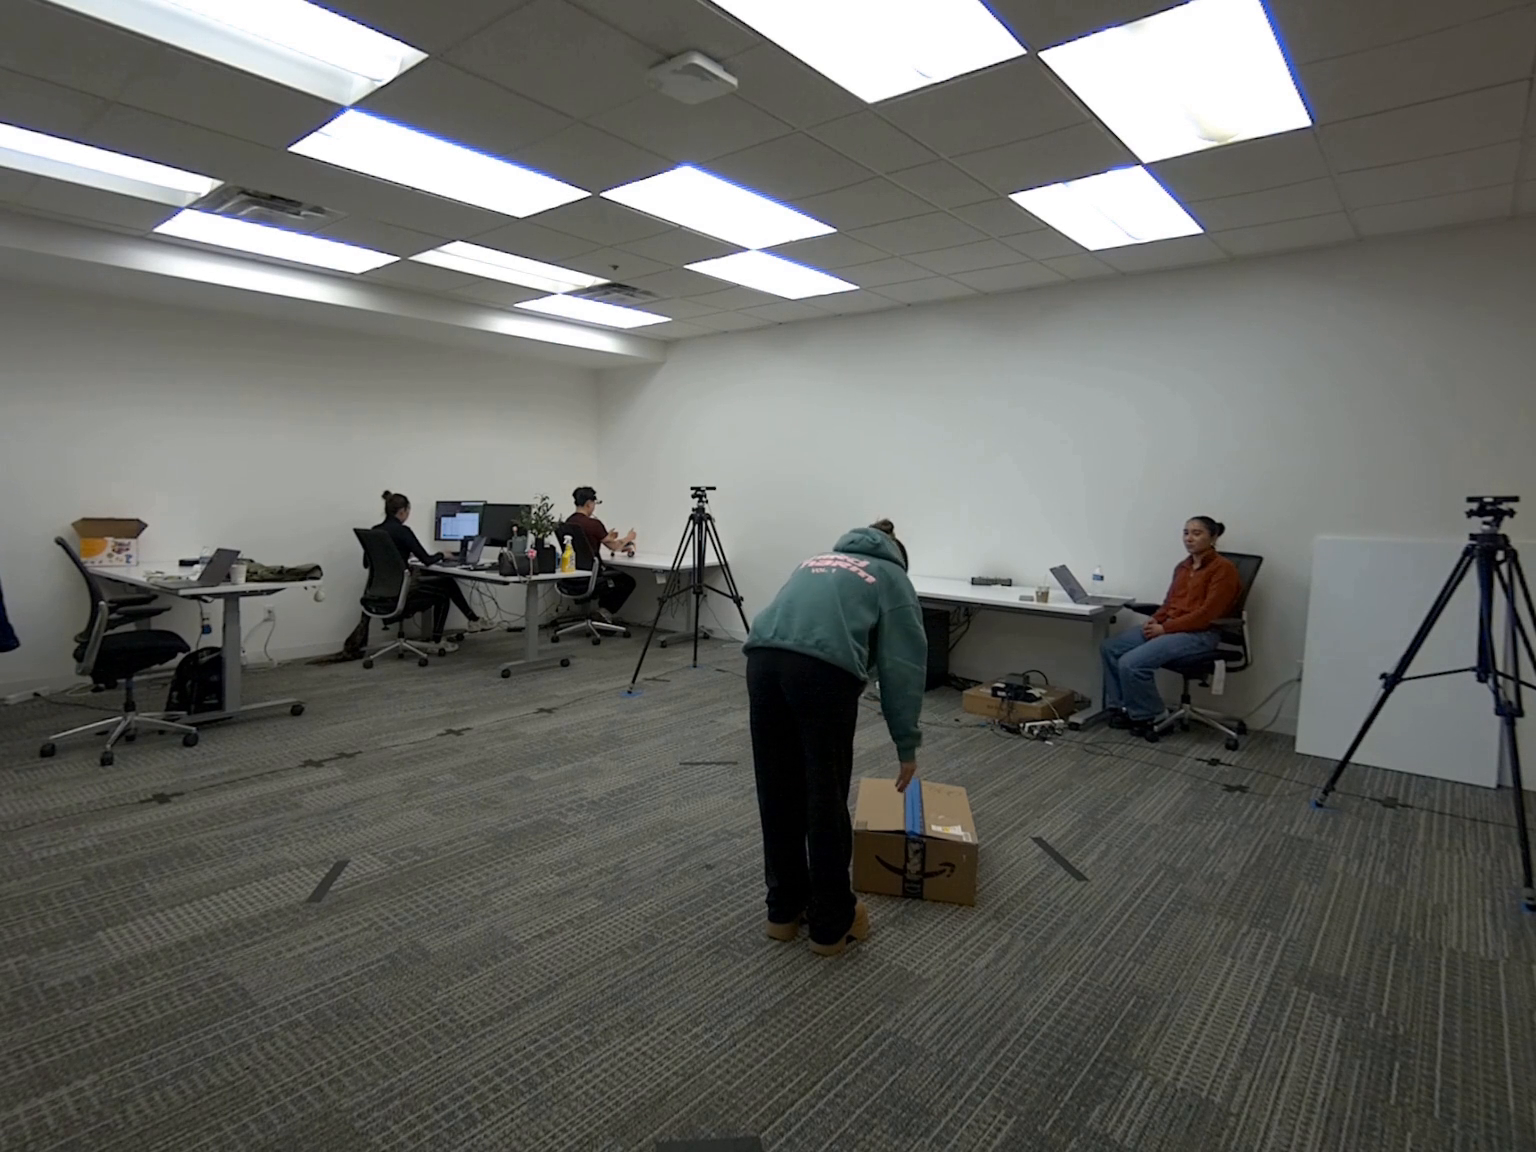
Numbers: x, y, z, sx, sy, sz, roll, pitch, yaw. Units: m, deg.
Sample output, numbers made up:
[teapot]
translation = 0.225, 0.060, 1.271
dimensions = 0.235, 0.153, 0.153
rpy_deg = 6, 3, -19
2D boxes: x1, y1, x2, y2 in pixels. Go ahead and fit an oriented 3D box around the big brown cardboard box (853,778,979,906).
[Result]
[big brown cardboard box]
translation = 0.530, 0.958, 3.170
dimensions = 0.422, 0.232, 0.584
rpy_deg = 2, 5, 9
